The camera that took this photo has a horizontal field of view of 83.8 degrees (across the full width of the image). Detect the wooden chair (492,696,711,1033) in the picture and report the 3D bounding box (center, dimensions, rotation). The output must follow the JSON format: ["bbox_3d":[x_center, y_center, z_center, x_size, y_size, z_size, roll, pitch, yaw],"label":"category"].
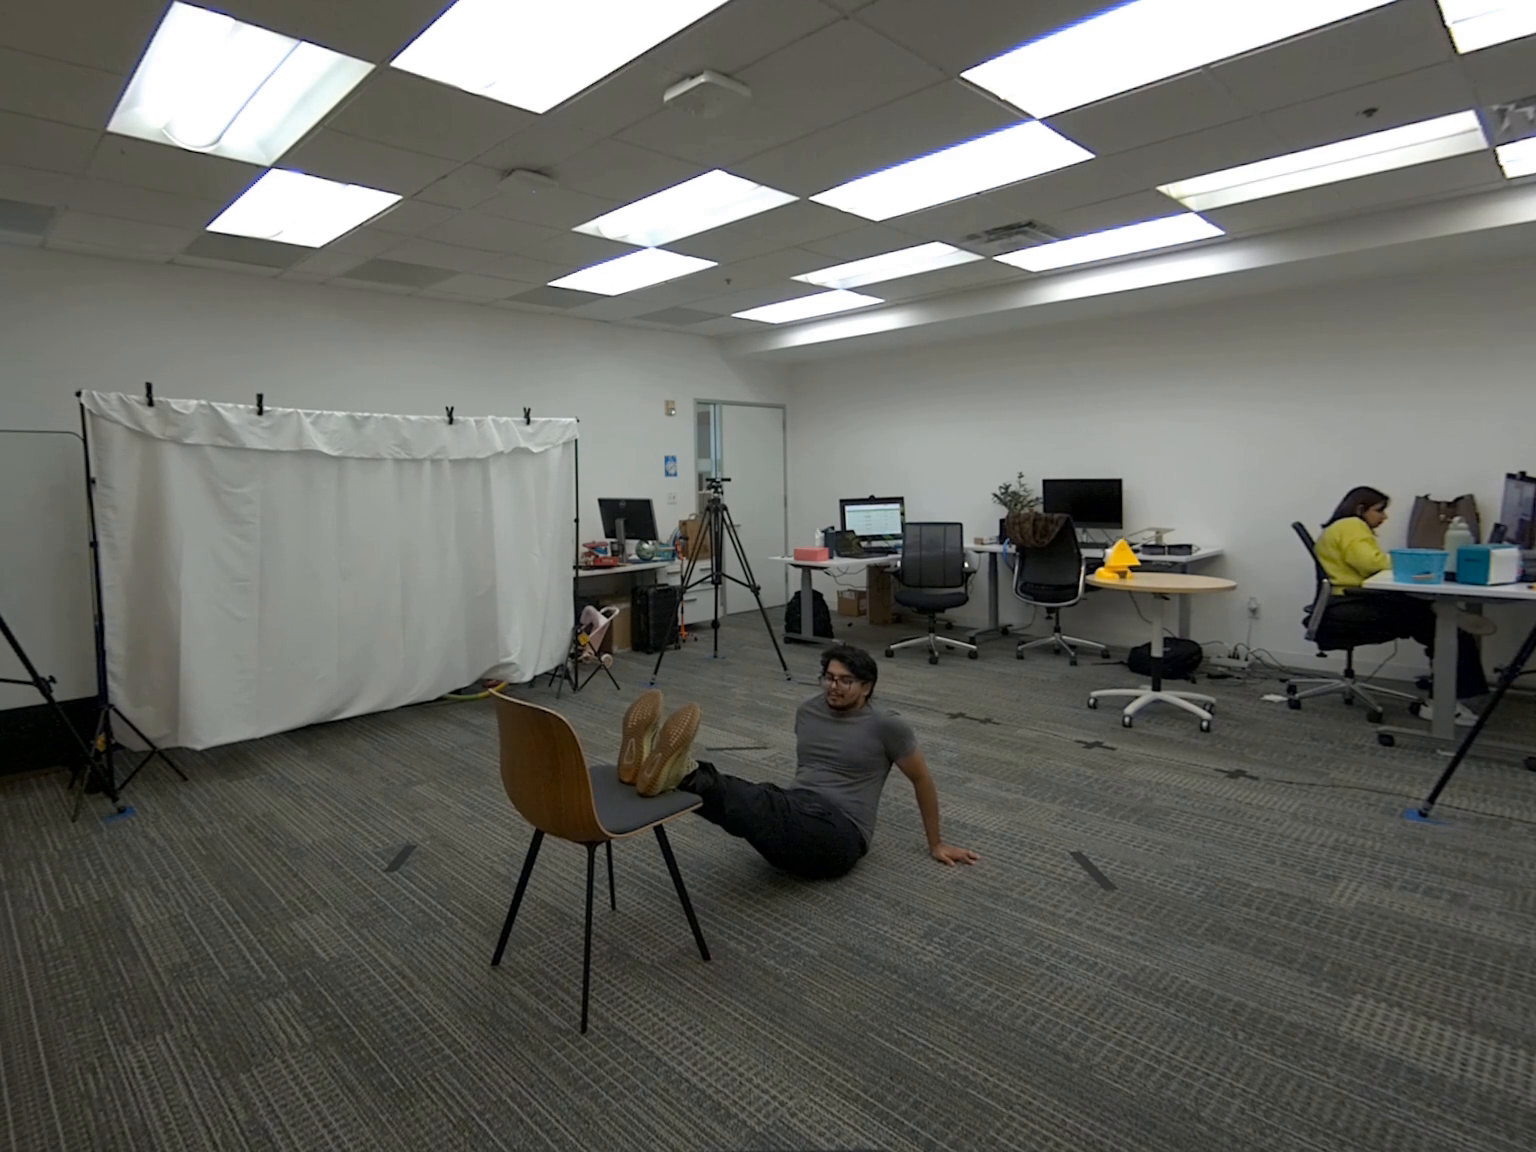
[{"bbox_3d":[-0.483,0.704,2.452,0.493,0.871,0.511,4,10,43],"label":"wooden chair"}]
